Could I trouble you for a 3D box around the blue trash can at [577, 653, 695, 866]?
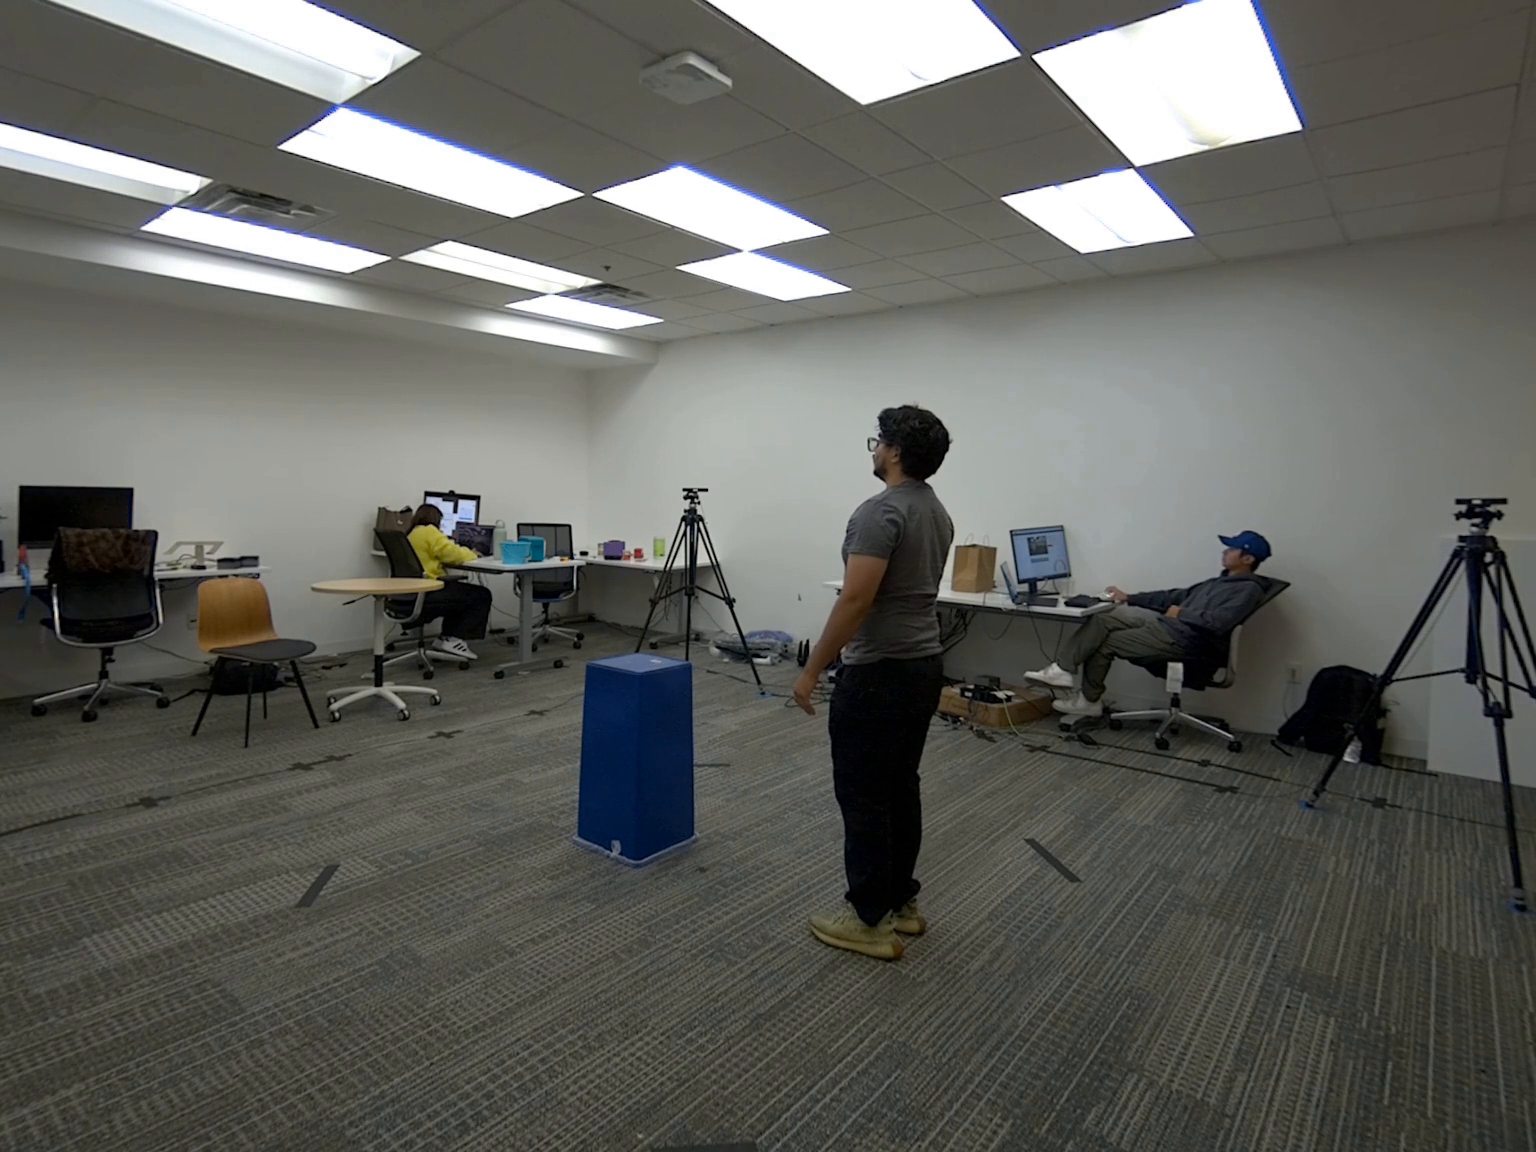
[{"bbox_3d":[-0.515,0.689,3.345,0.390,0.712,0.363,4,3,38],"label":"blue trash can"}]
